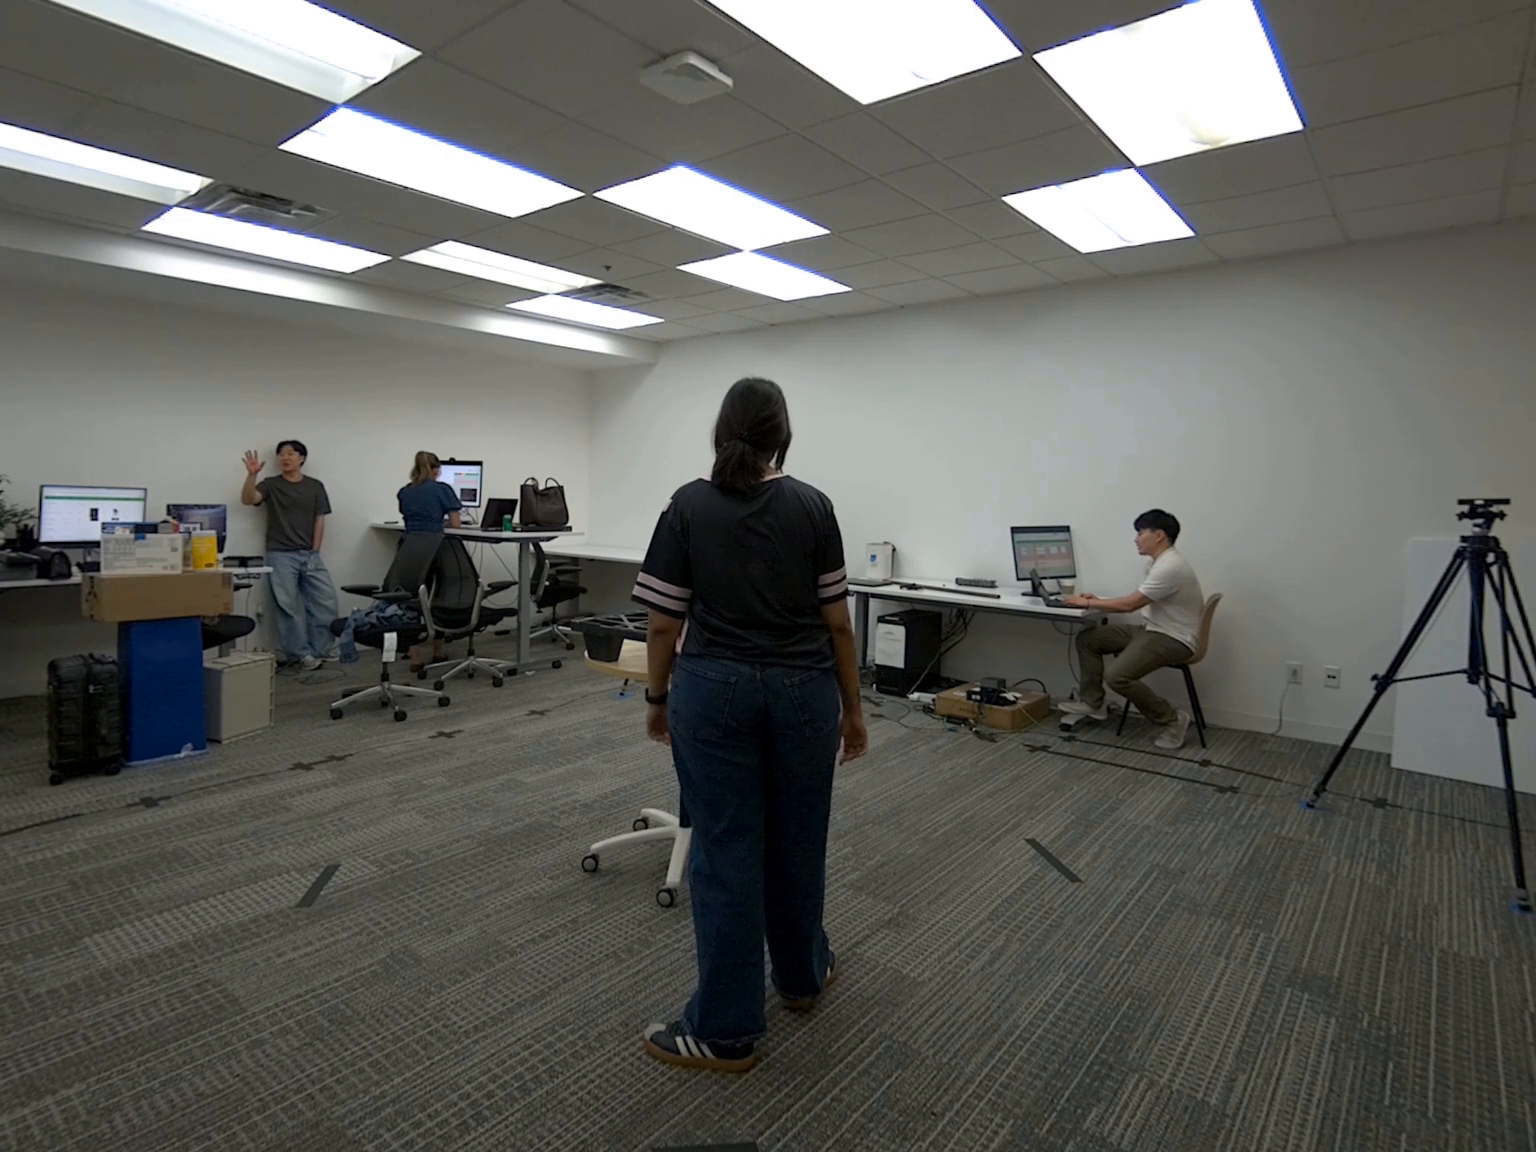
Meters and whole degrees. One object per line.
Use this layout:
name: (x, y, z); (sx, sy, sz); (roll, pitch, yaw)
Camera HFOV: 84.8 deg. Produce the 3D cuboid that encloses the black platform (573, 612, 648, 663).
black platform: (-0.237, 0.220, 3.122); (0.625, 0.142, 0.783); (6, 8, 34)
